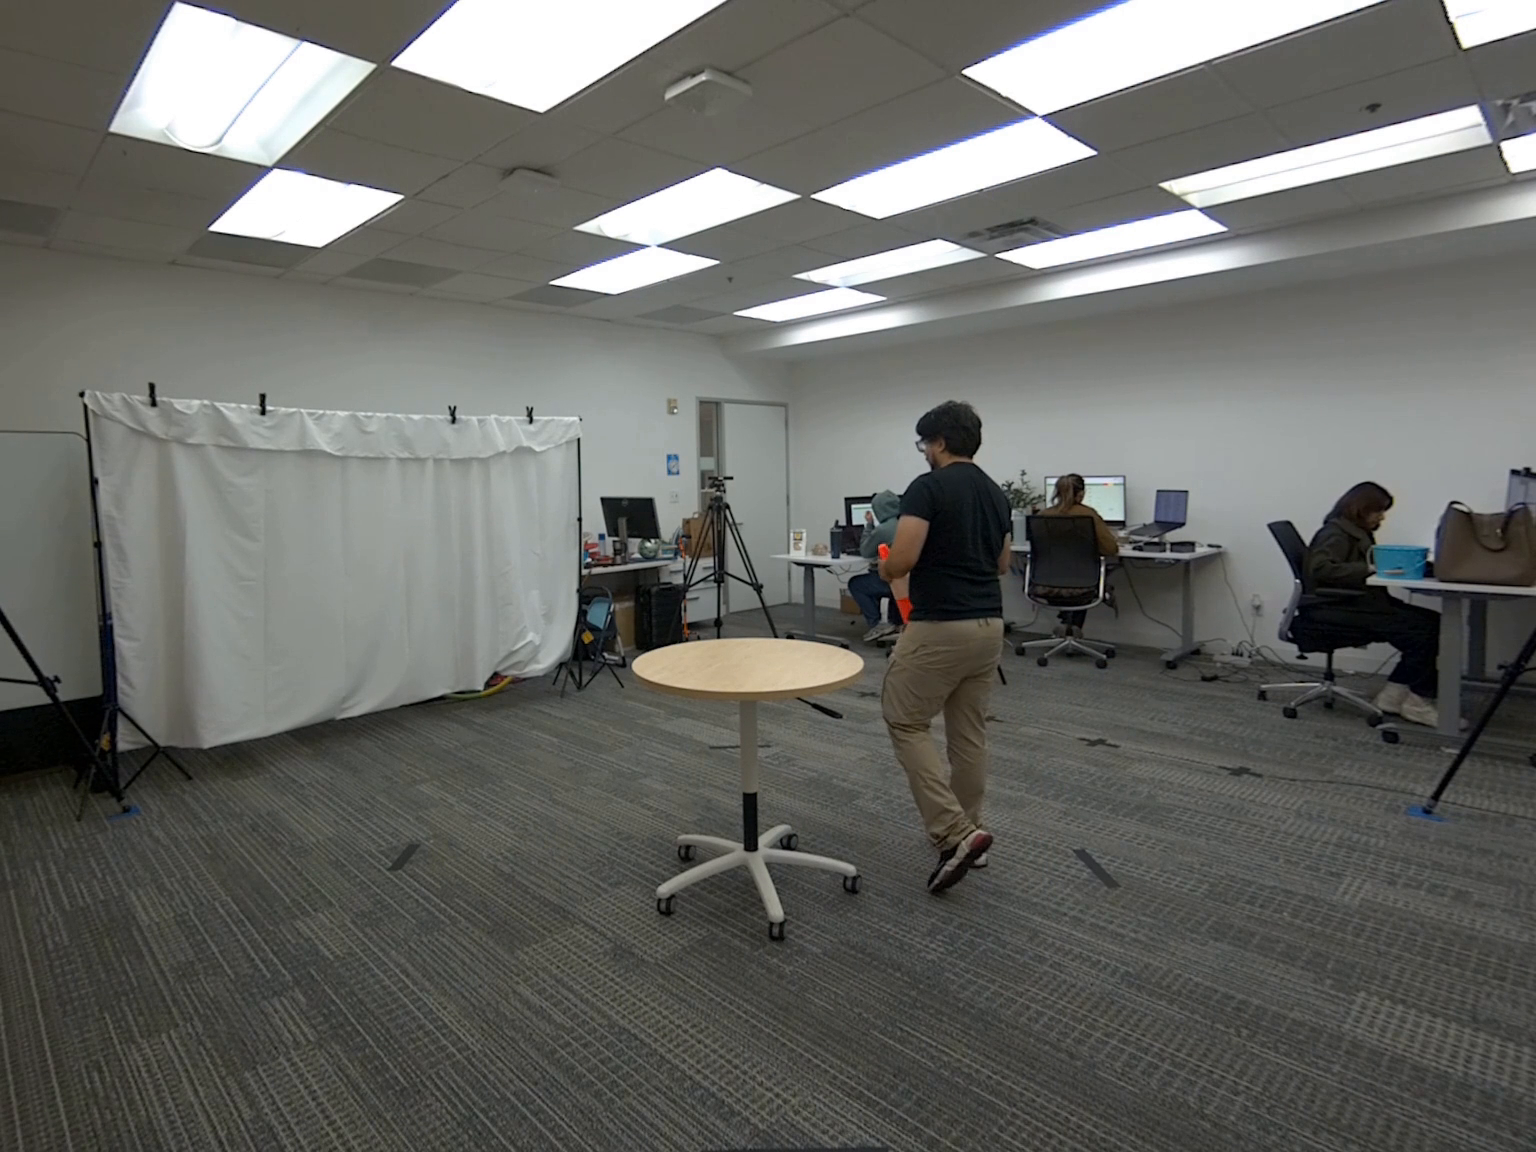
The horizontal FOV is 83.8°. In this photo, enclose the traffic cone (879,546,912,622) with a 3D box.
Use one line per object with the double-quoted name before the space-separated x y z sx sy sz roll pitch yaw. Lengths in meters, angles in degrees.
"traffic cone" 0.538 0.041 3.290 0.202 0.378 0.209 -36 15 -27
